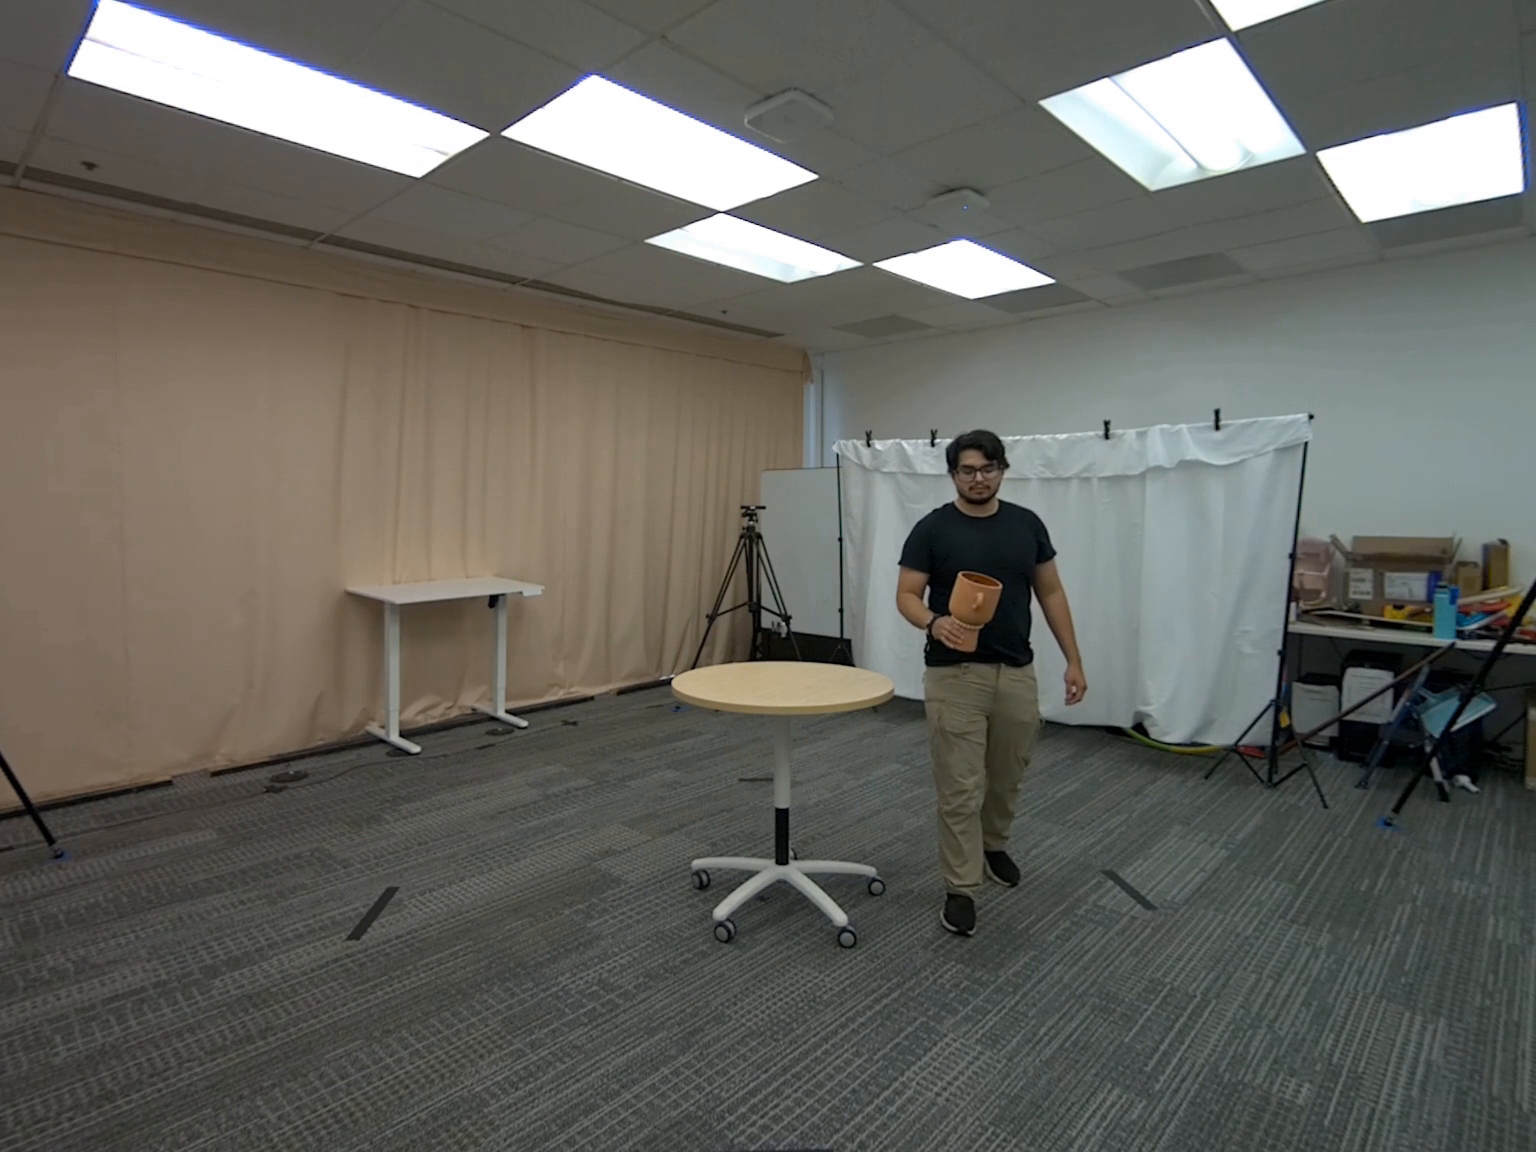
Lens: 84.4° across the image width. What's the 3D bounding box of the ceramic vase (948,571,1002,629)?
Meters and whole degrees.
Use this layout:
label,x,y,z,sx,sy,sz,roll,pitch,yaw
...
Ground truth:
label,x,y,z,sx,sy,sz,roll,pitch,yaw
ceramic vase,0.619,0.113,2.577,0.154,0.218,0.140,-3,23,-43
